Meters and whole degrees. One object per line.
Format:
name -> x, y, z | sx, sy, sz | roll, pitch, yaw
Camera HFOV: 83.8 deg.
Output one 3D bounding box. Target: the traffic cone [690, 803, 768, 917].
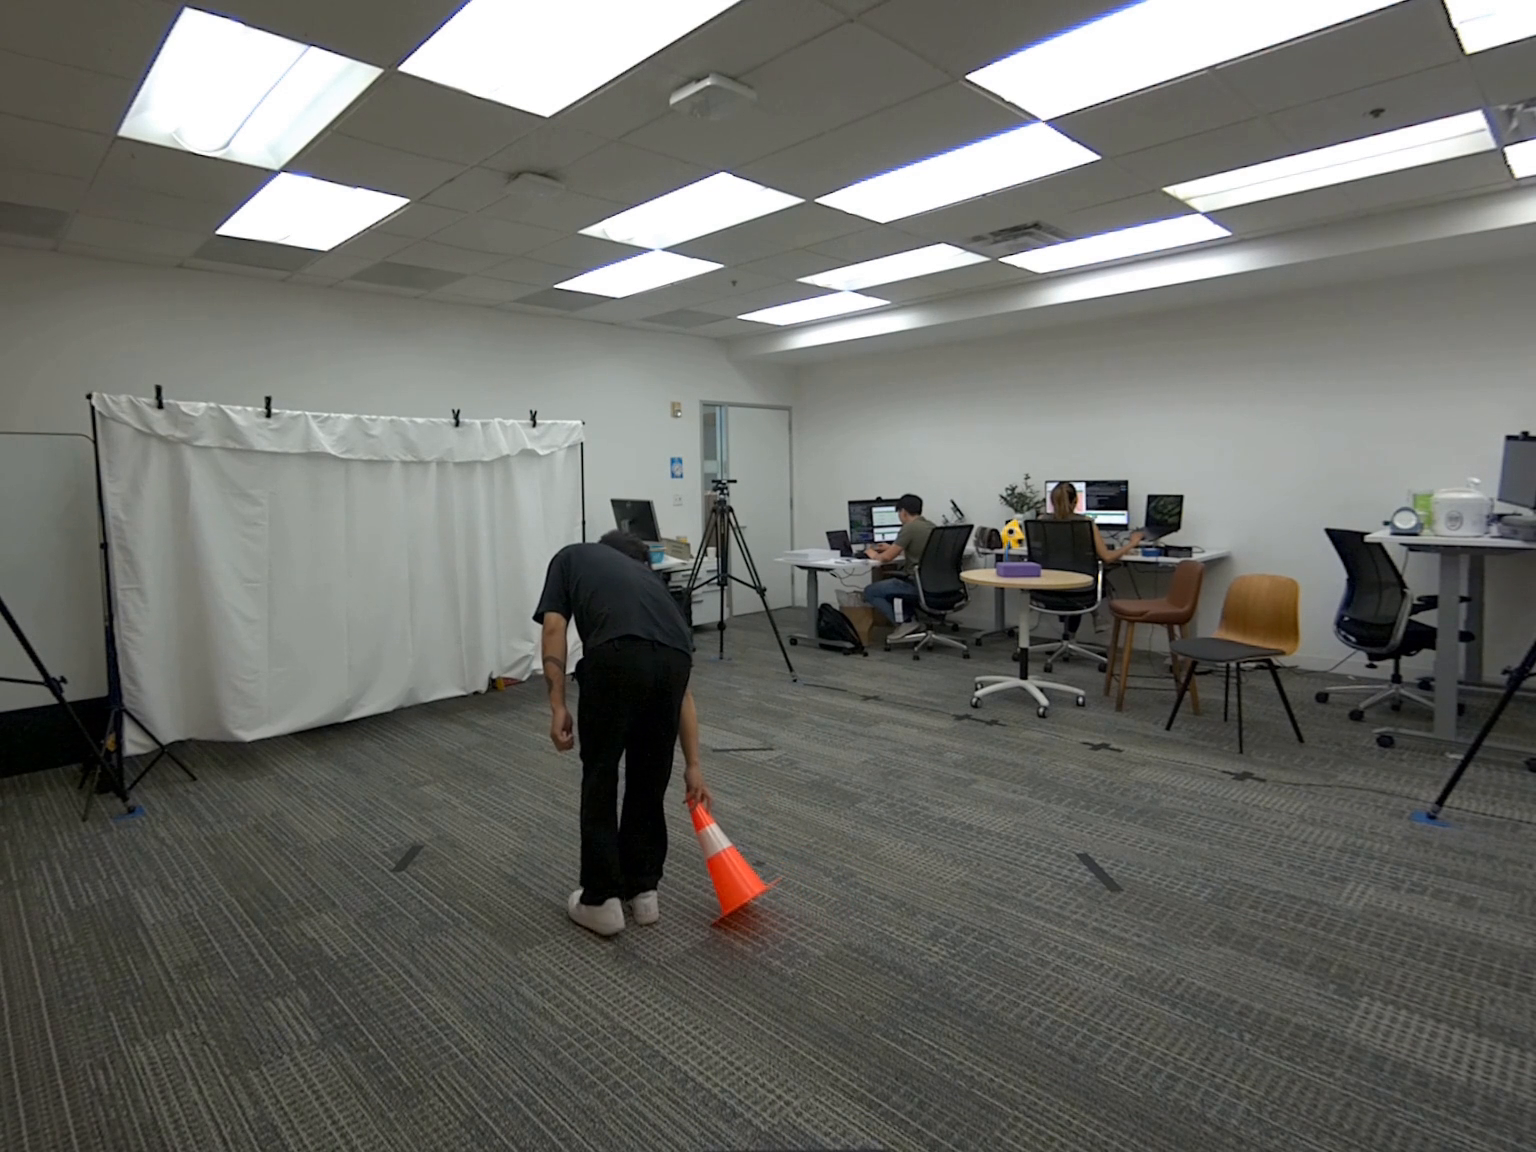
traffic cone -> -0.171, 0.877, 2.770 | 0.205, 0.393, 0.198 | -44, -21, 32
